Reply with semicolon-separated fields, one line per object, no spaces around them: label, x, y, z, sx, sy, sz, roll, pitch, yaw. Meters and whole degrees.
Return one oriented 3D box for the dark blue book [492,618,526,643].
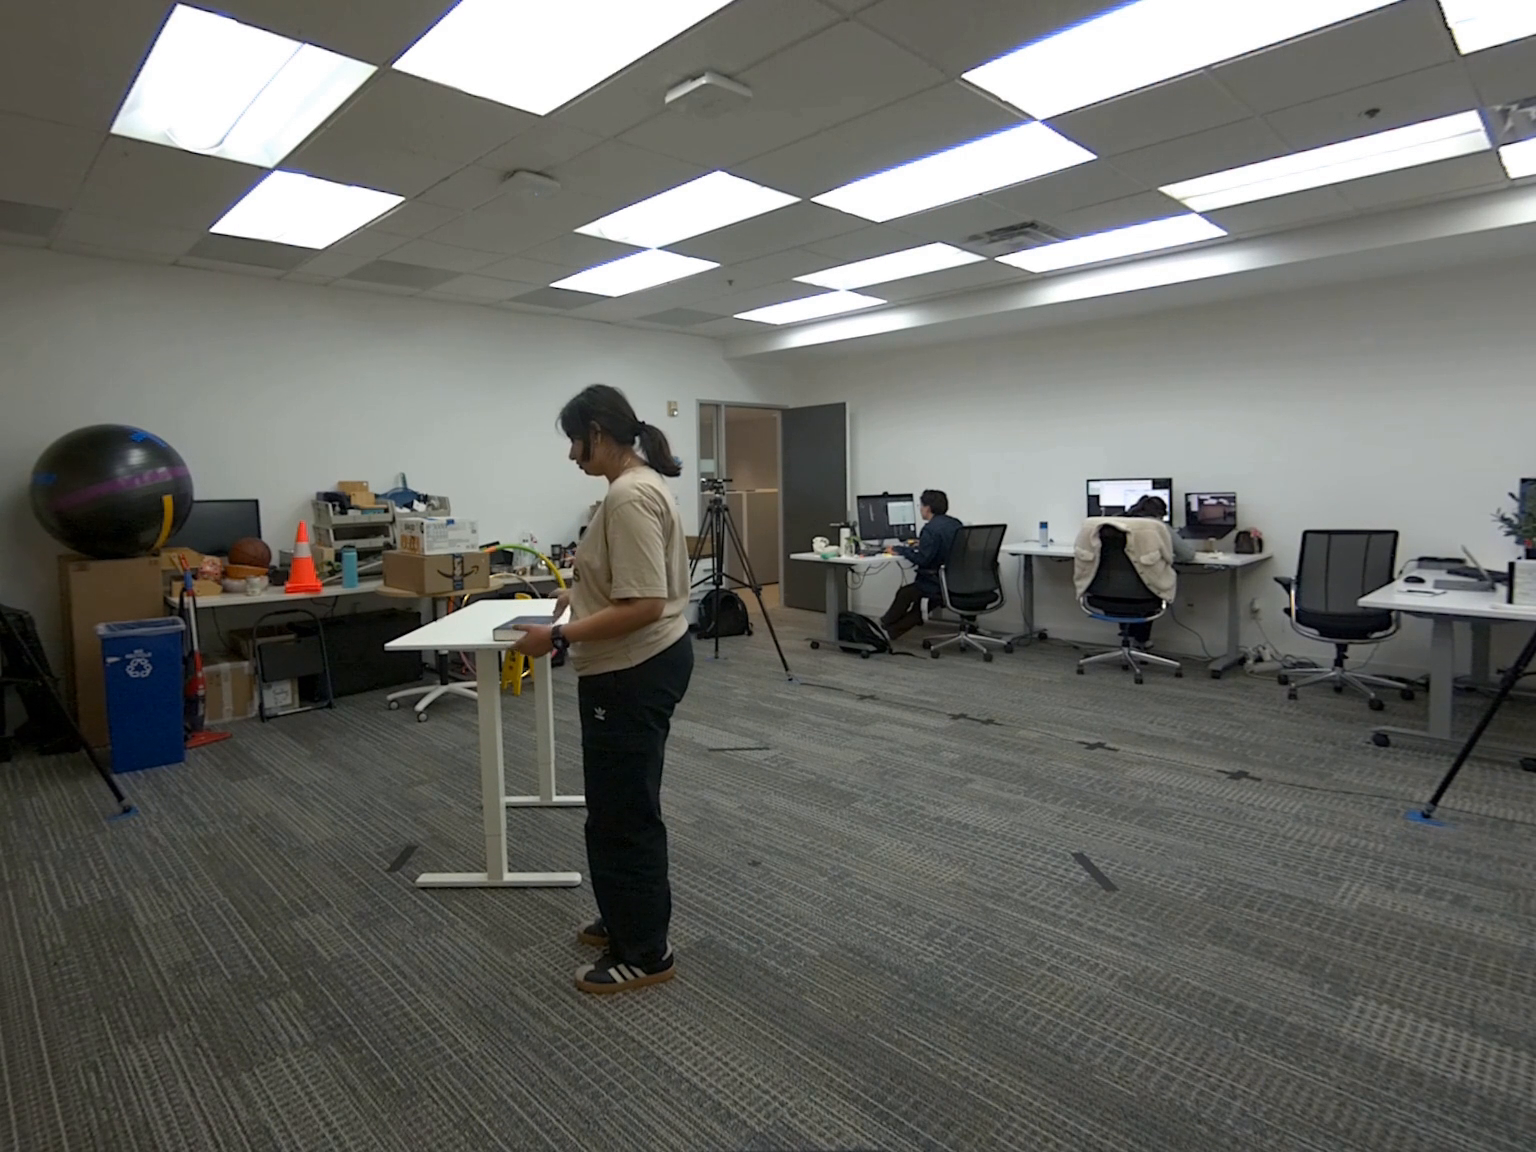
dark blue book;-0.815;0.180;2.929;0.164;0.045;0.245;-1;7;5
